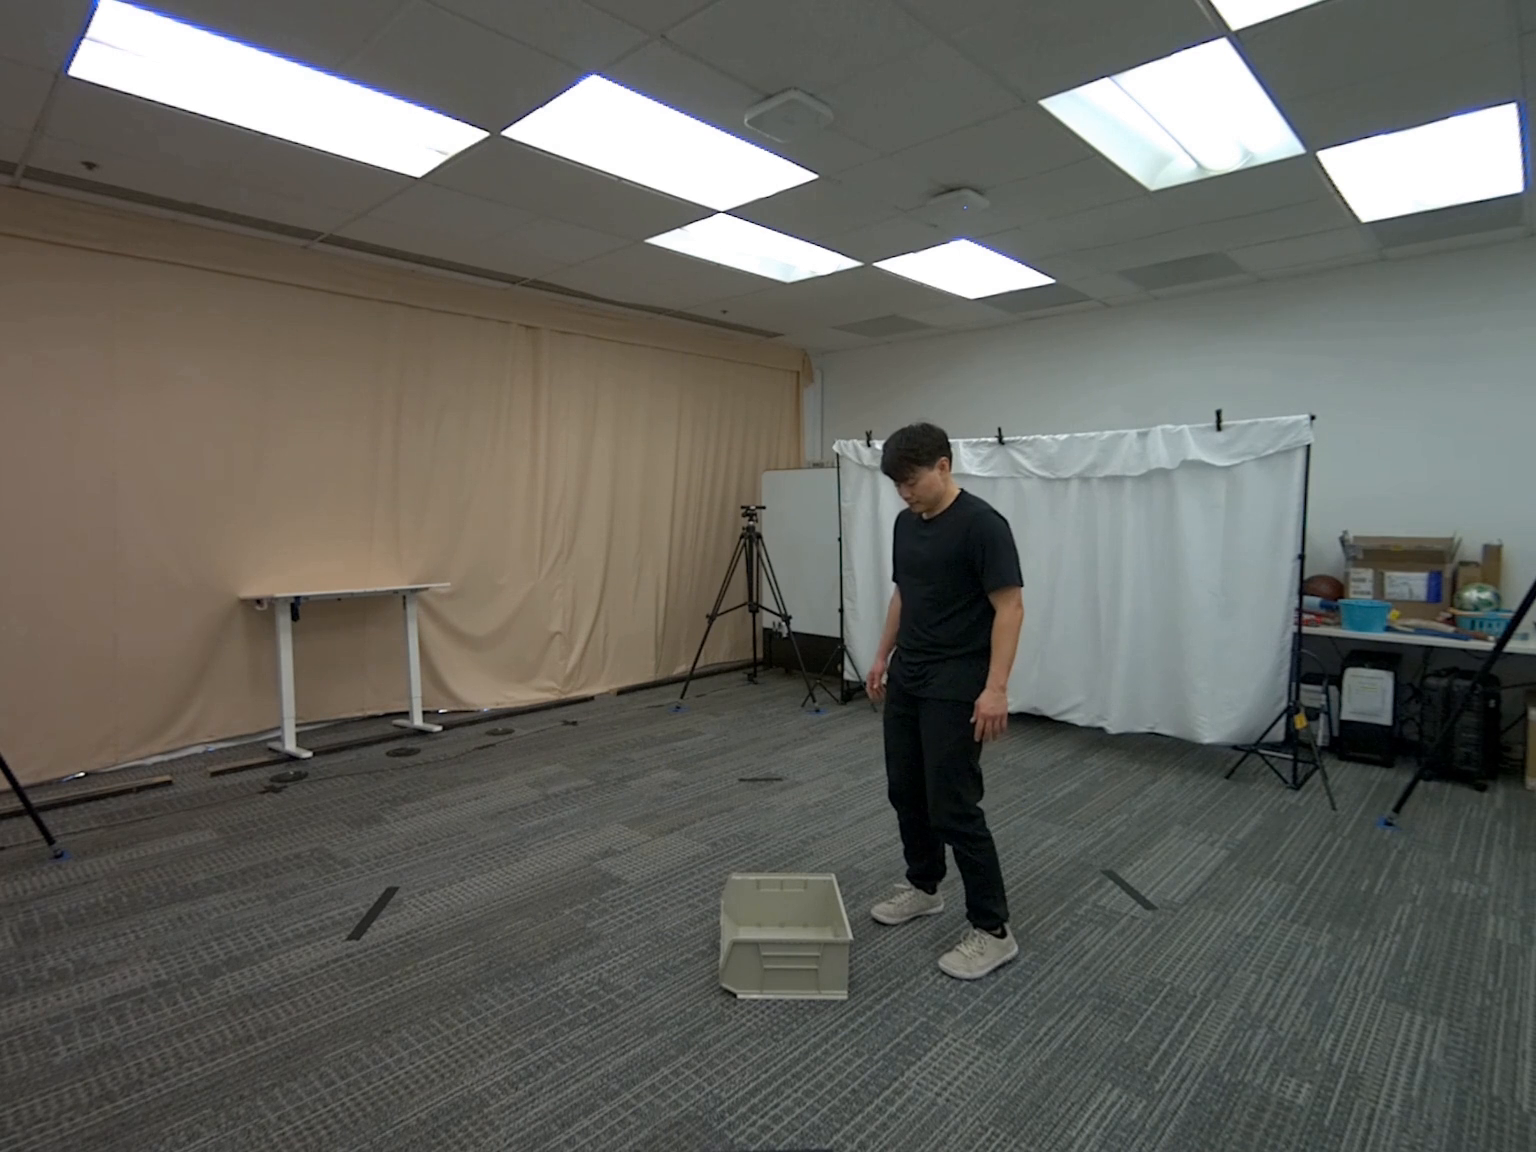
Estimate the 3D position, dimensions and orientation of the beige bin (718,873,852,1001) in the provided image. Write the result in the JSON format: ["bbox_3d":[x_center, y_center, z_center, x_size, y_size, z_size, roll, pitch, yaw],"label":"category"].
[{"bbox_3d":[0.042,1.099,2.565,0.377,0.189,0.423,0,3,-2],"label":"beige bin"}]
